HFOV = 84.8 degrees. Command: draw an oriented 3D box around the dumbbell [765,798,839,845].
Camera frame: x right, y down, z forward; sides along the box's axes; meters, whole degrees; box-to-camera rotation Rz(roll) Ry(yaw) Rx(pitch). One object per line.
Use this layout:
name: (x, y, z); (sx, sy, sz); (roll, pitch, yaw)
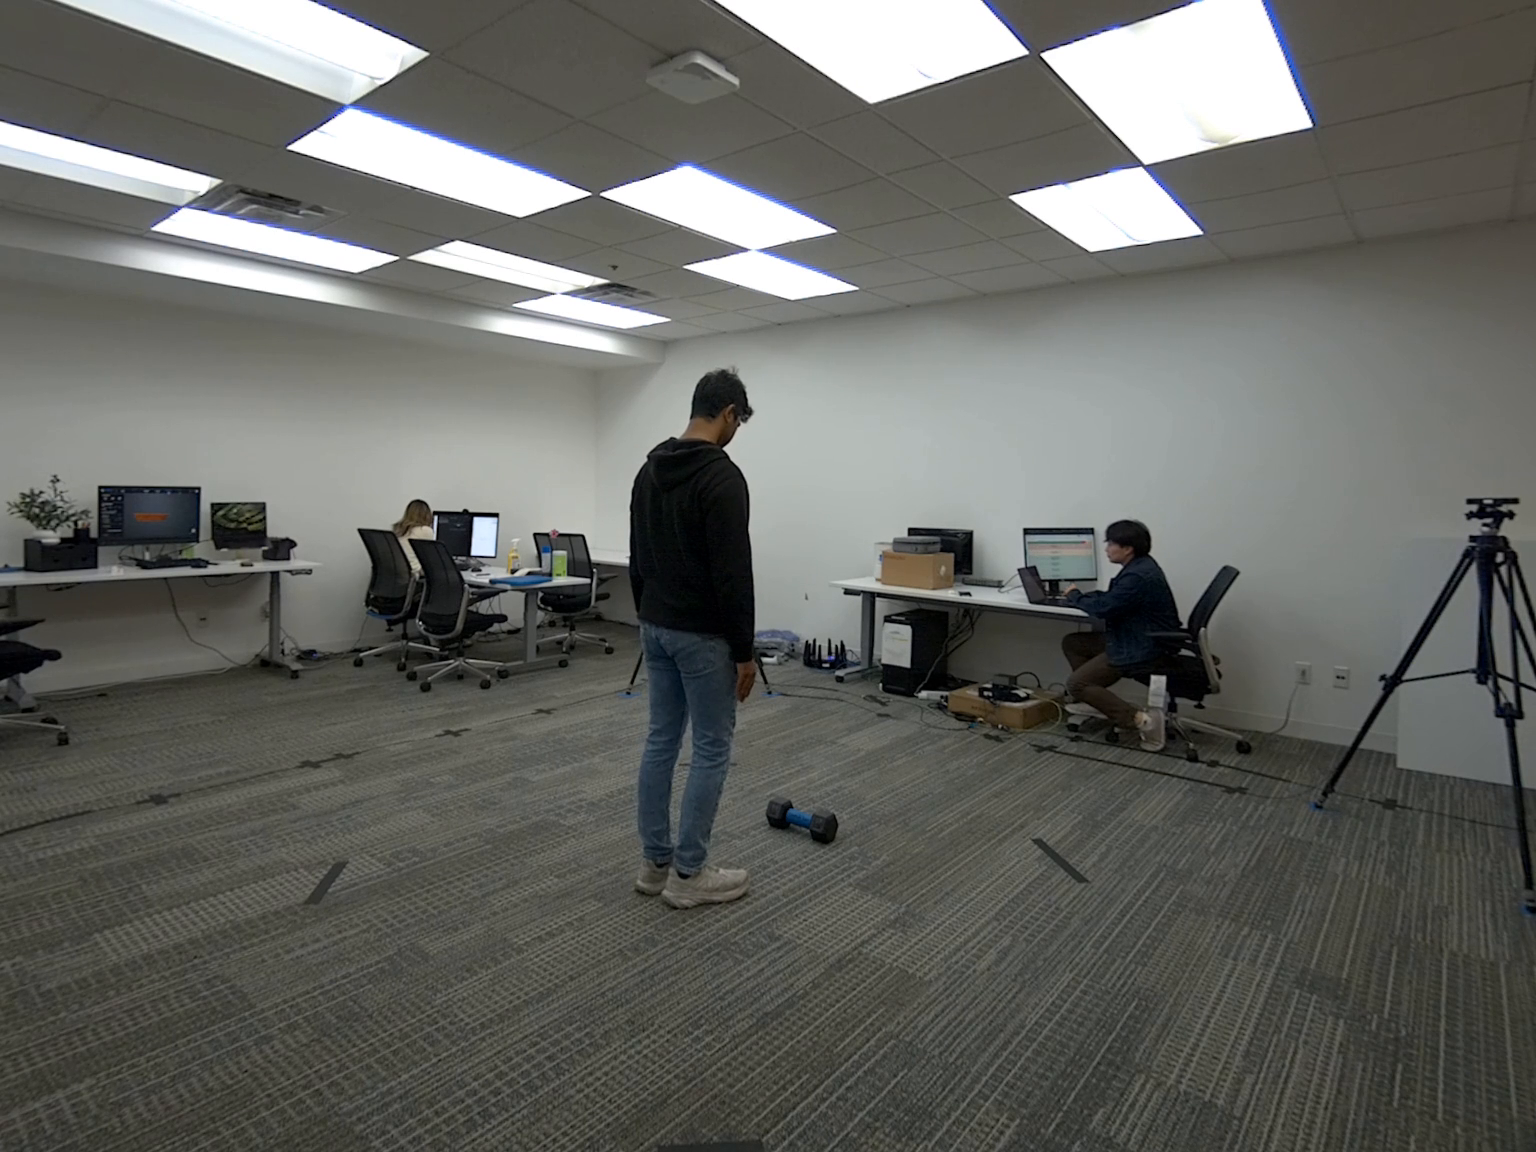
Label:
dumbbell: (0.127, 0.985, 3.455); (0.303, 0.124, 0.104); (5, -25, 38)
